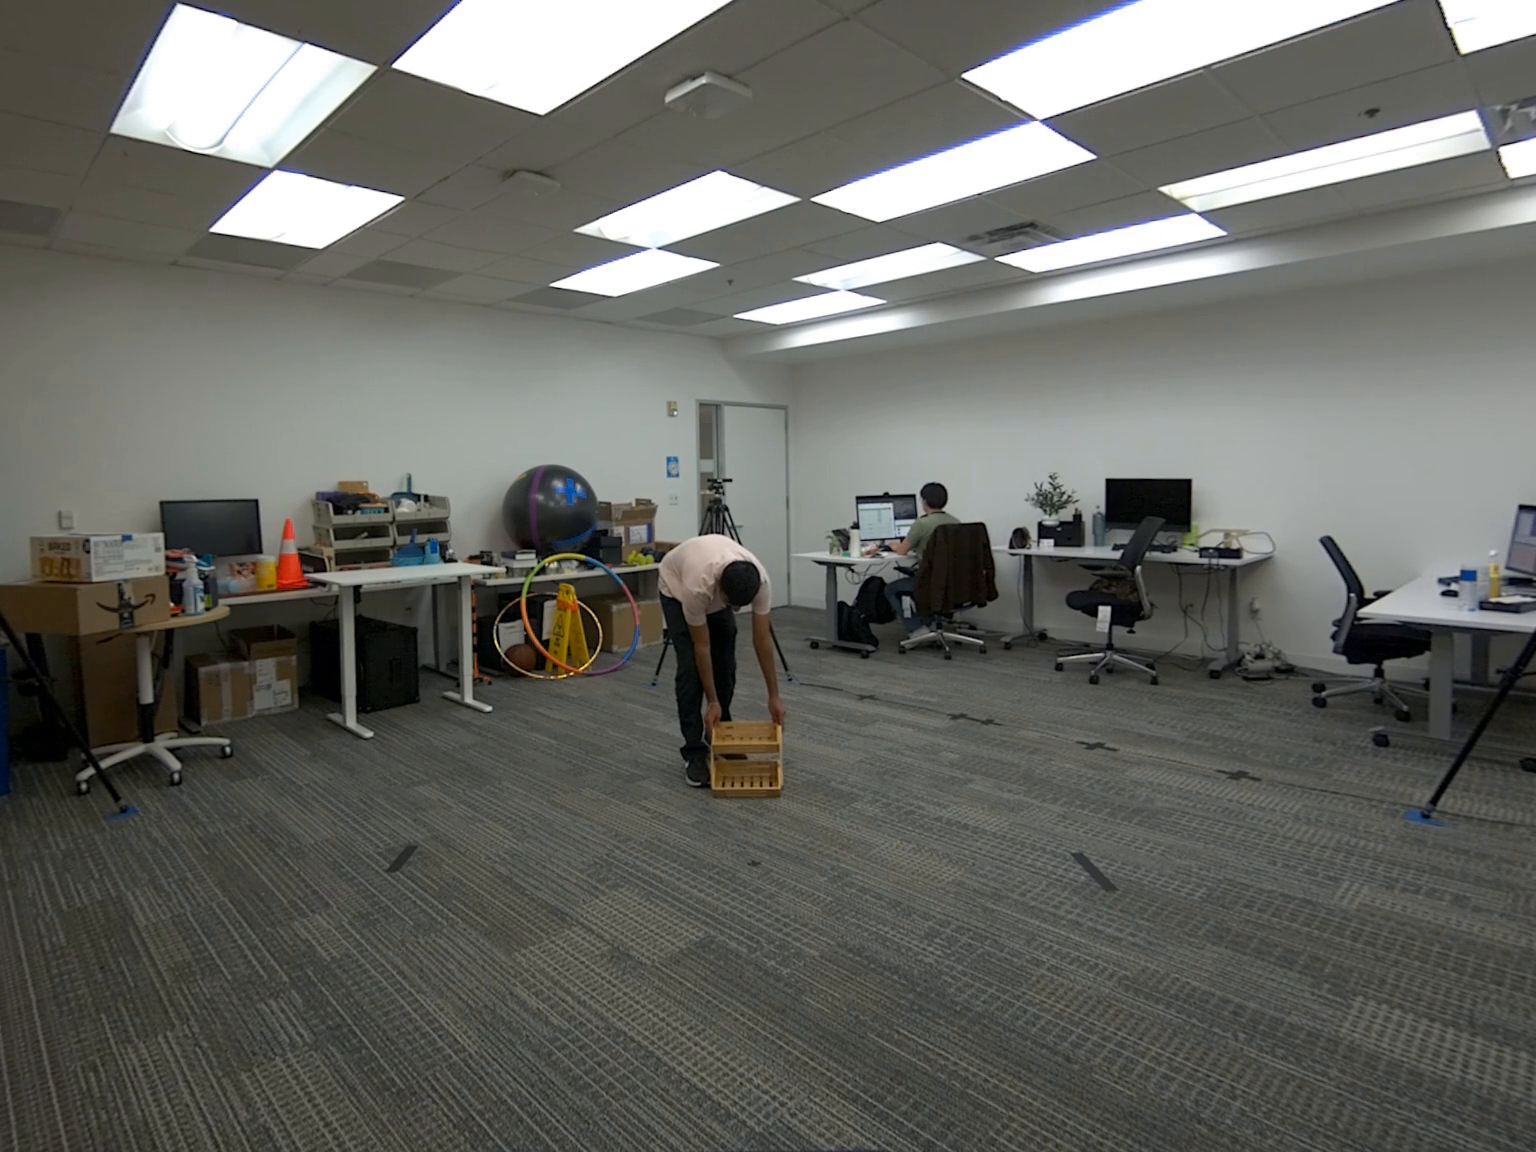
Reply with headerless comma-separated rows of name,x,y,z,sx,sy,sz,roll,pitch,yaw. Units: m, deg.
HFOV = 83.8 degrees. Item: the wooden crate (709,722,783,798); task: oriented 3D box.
wooden crate,-0.098,0.831,3.868,0.325,0.272,0.303,-1,4,0
